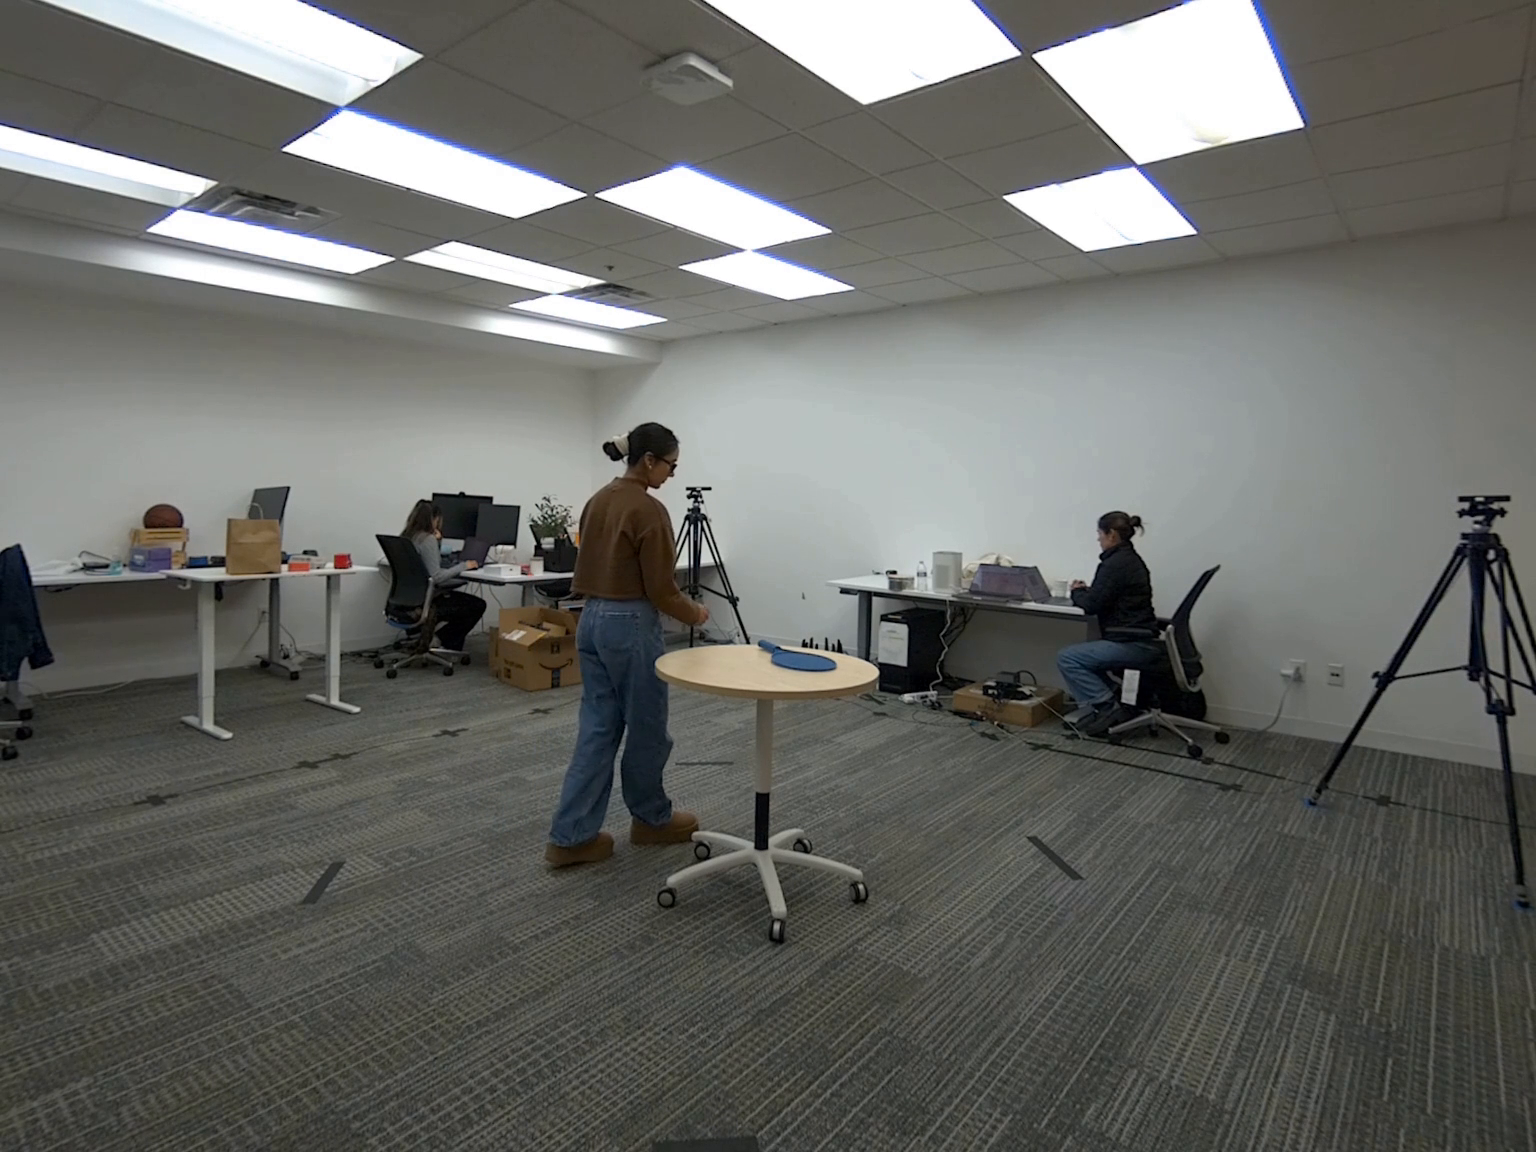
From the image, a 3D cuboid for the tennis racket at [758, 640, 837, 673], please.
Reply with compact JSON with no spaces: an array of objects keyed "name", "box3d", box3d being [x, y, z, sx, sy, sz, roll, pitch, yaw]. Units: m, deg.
[{"name":"tennis racket","box3d":[0.075,0.287,3.037,0.208,0.031,0.446,-2,8,-29]}]
